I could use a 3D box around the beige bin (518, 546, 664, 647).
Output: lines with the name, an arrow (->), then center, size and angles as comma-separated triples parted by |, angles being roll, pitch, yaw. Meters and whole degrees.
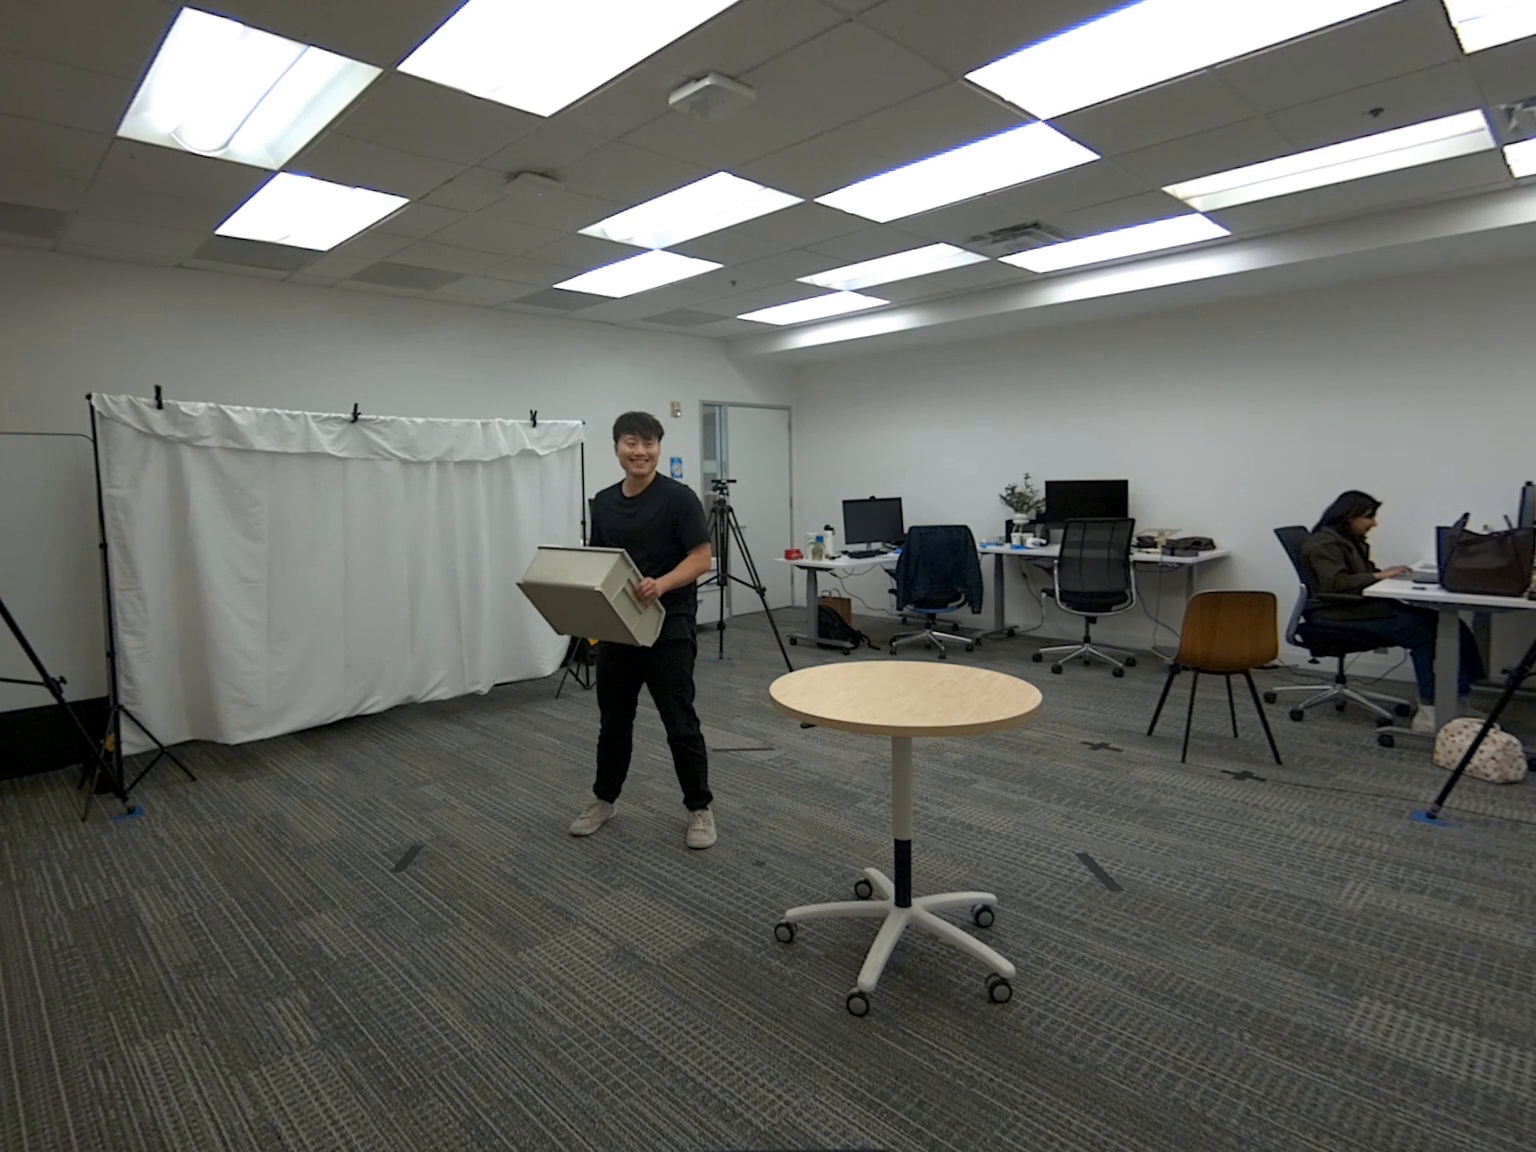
beige bin -> -0.648, 0.087, 3.139 | 0.434, 0.191, 0.363 | 3, -40, 32
